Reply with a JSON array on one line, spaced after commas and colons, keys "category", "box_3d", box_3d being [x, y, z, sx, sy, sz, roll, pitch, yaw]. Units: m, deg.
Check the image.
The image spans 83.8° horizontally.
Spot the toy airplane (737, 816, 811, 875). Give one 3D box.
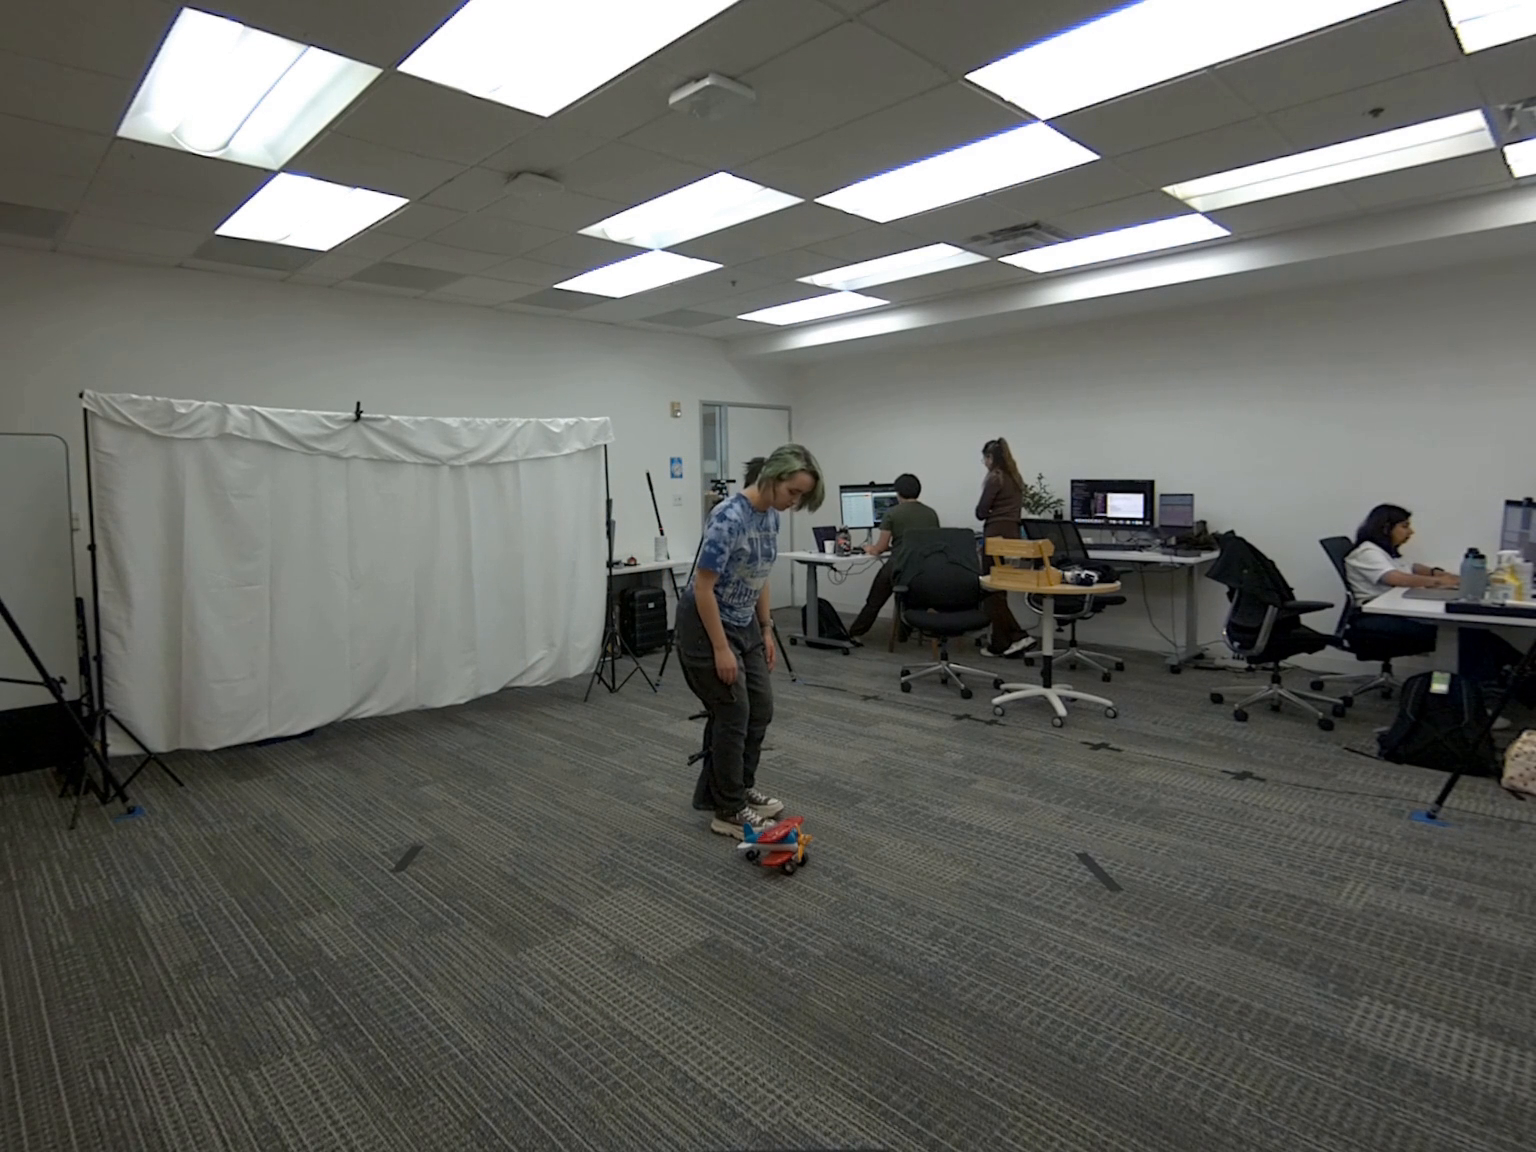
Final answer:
[{"category": "toy airplane", "box_3d": [0.017, 0.974, 3.080, 0.260, 0.156, 0.251, 1, 6, 4]}]
